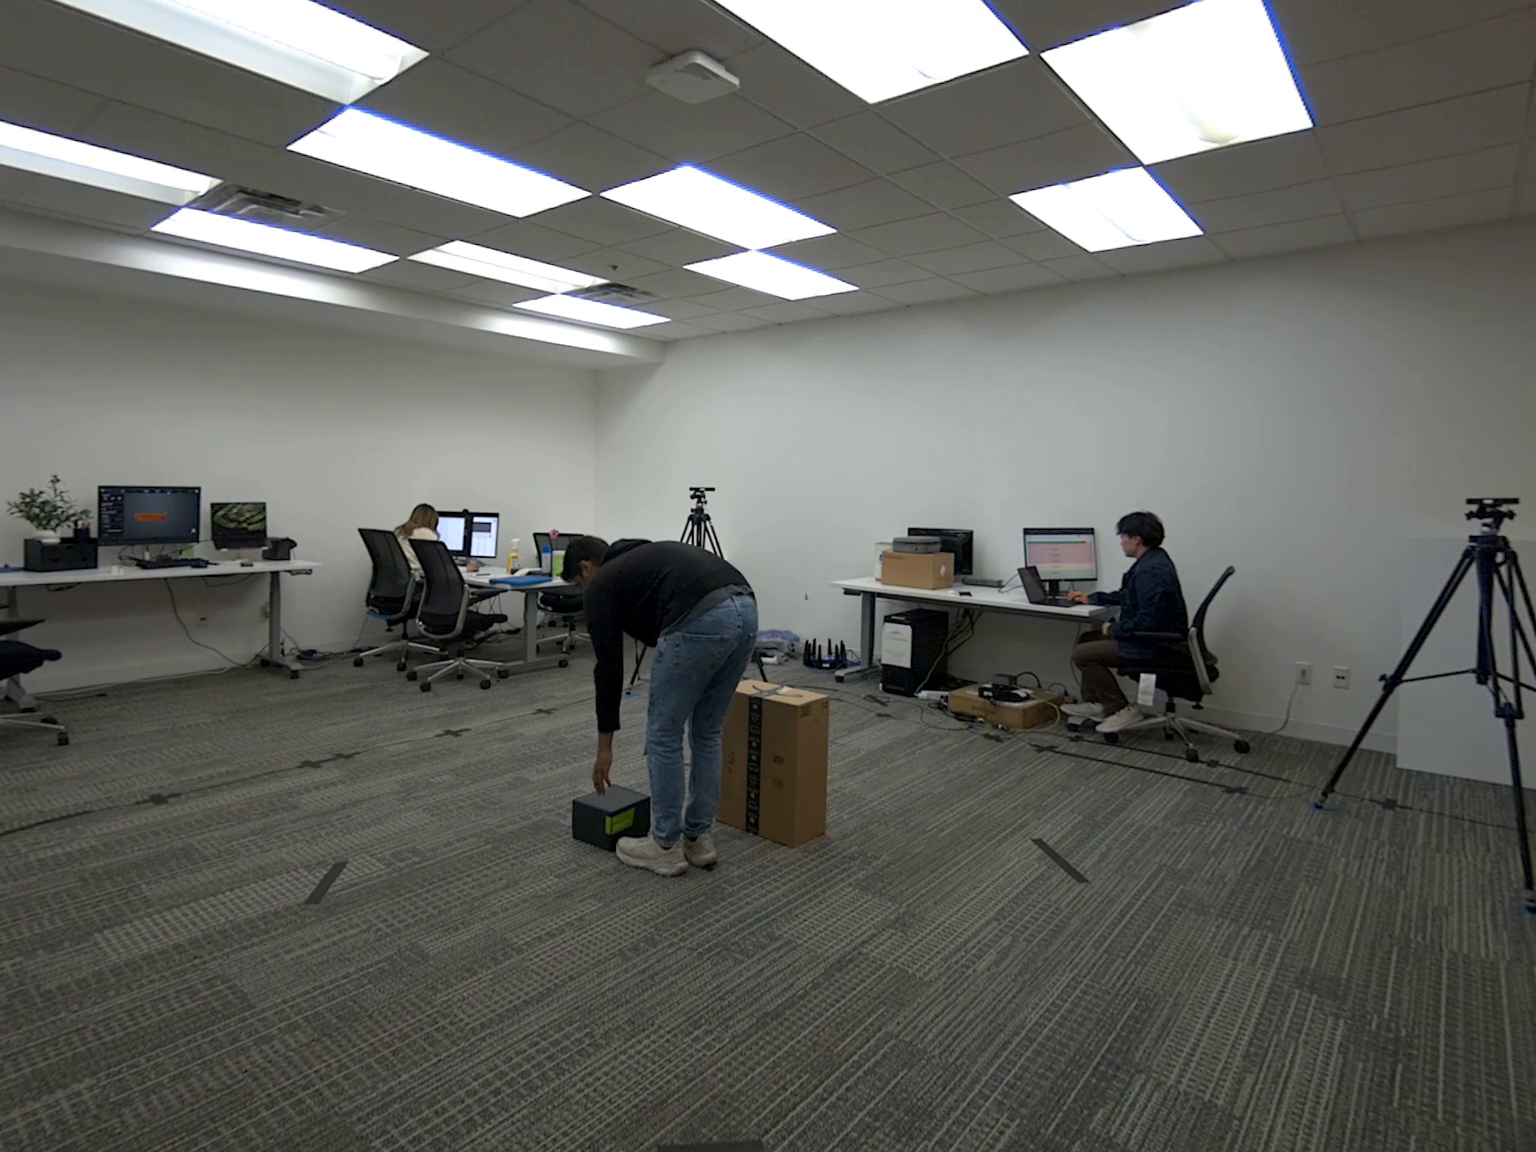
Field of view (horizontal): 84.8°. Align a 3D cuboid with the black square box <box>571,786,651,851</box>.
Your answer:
[{"bbox_3d":[-0.633,0.949,3.381,0.224,0.155,0.221,4,5,35],"label":"black square box"}]
